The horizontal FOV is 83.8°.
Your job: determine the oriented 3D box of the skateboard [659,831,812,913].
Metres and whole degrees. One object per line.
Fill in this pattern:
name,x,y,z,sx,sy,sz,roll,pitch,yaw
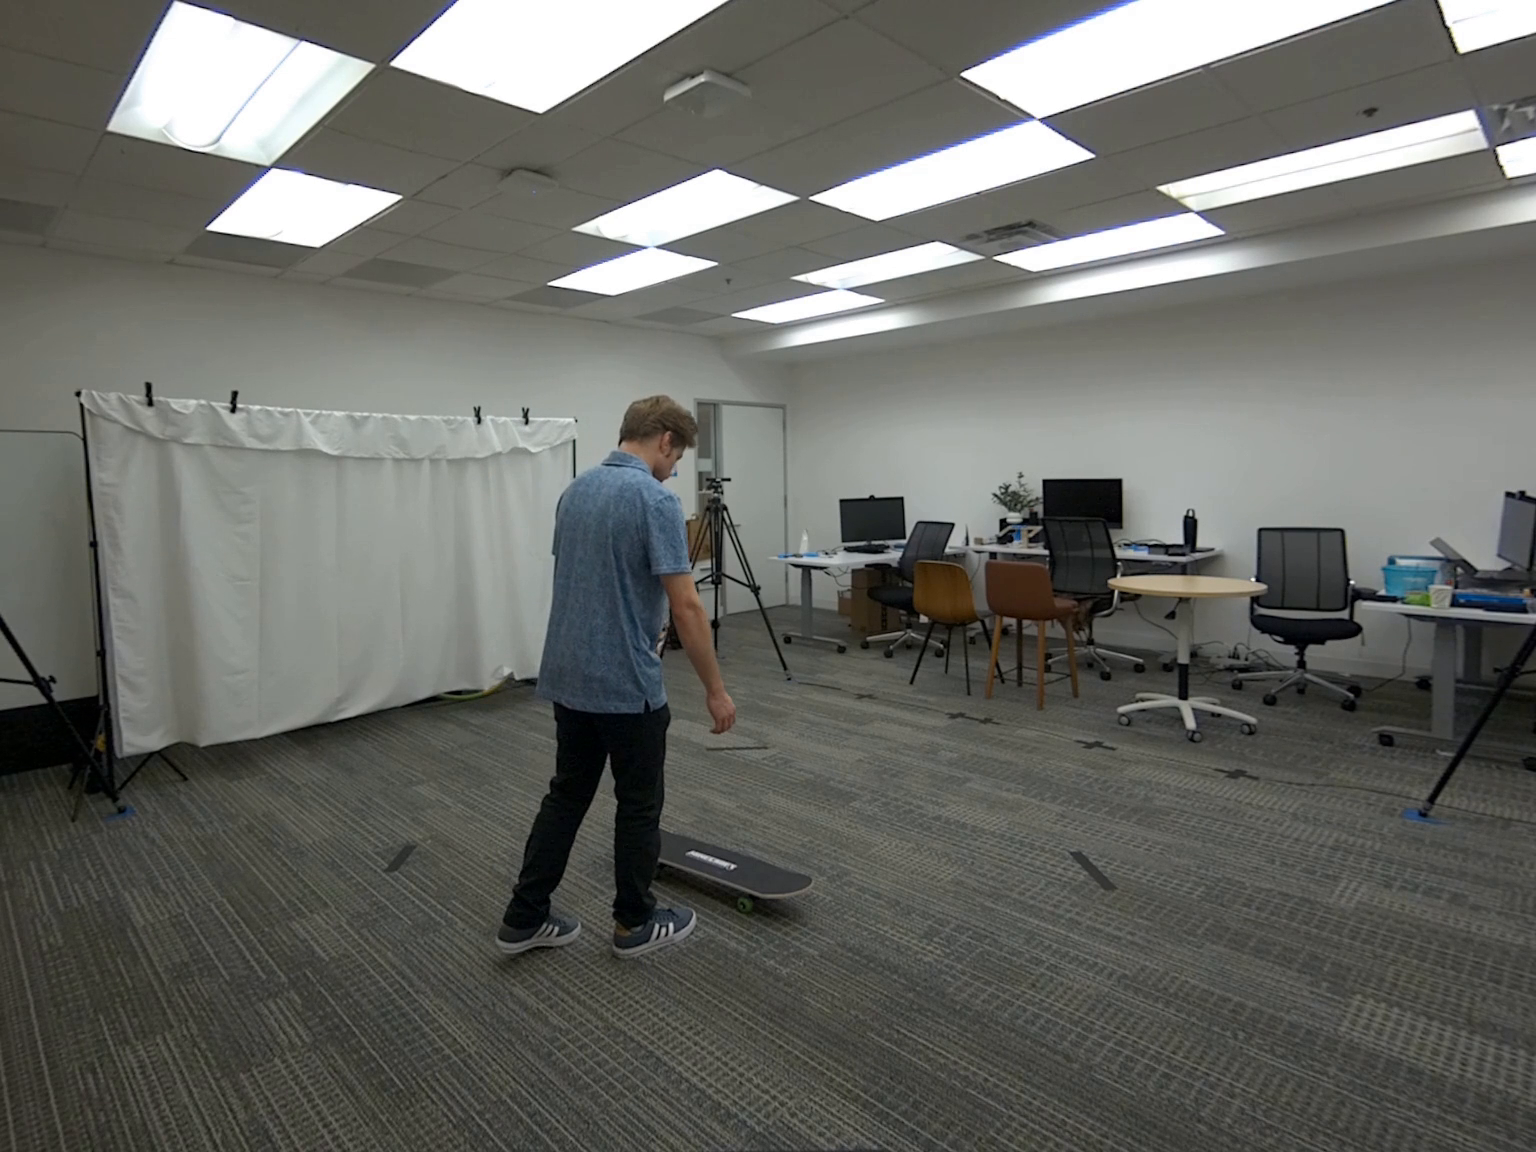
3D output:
skateboard,-0.190,1.010,2.933,0.808,0.110,0.189,4,8,37
